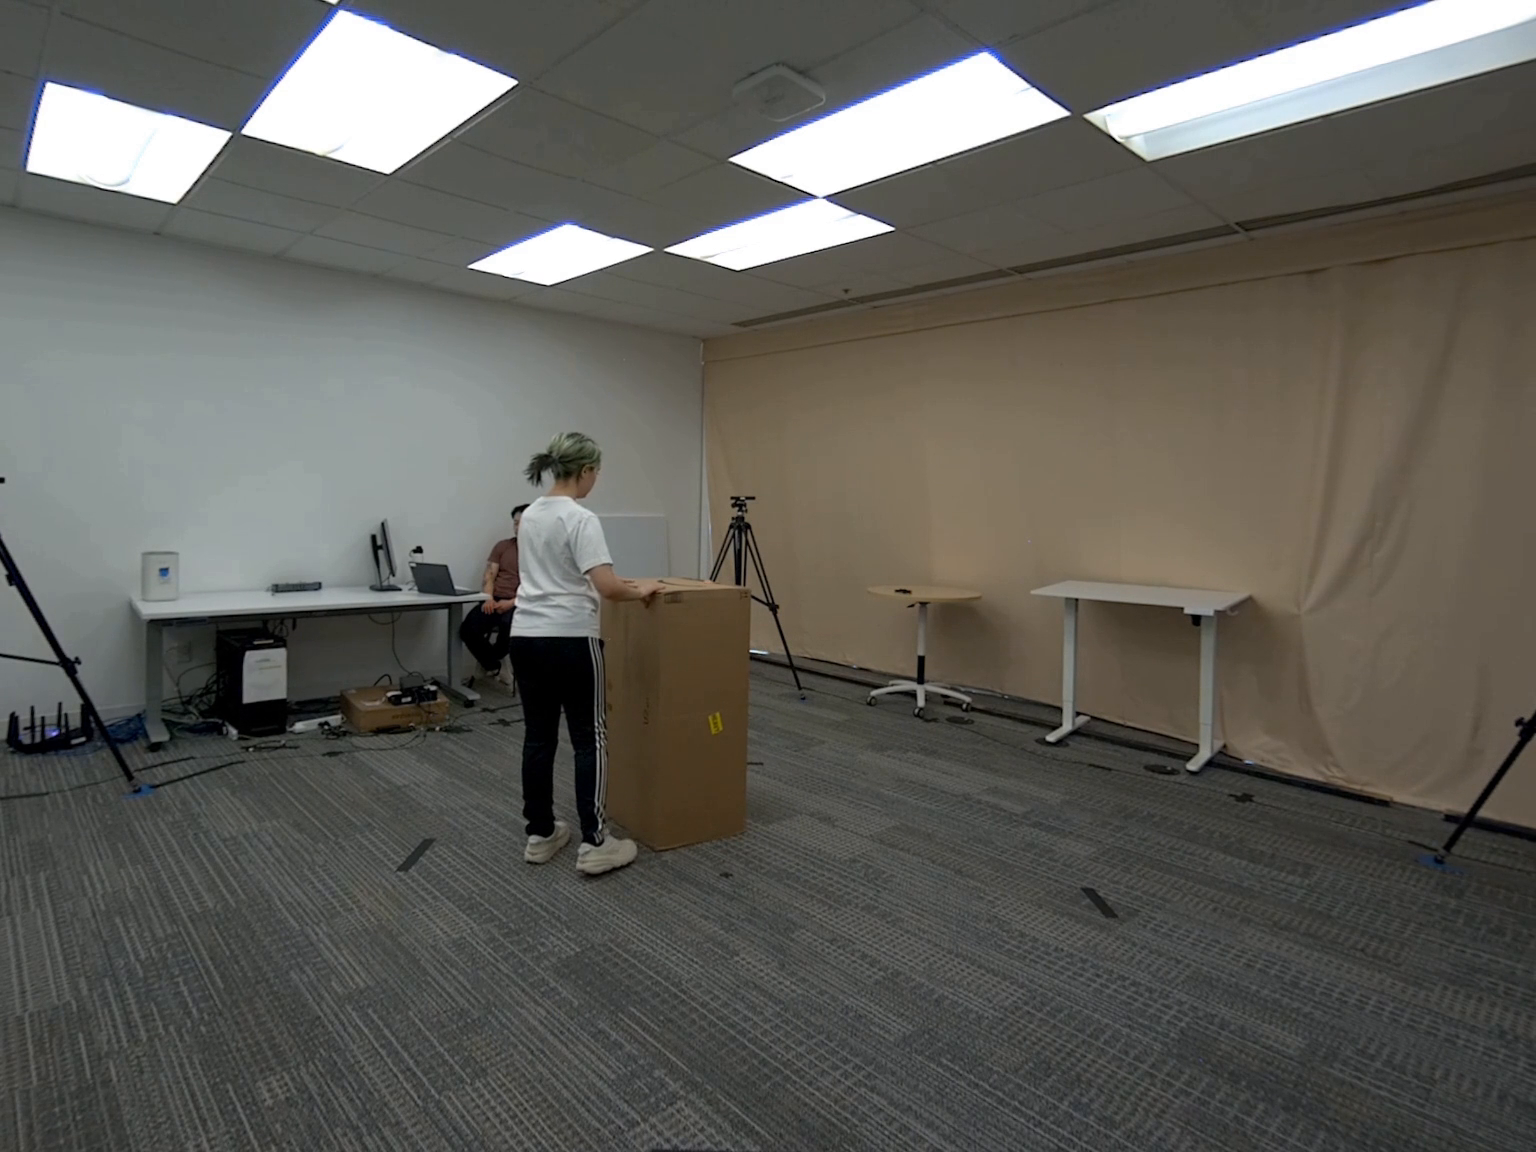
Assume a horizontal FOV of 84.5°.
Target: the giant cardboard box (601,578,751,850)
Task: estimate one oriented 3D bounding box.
[{"bbox_3d":[-0.420,0.547,3.623,0.437,1.025,0.598,-1,3,-36],"label":"giant cardboard box"}]
